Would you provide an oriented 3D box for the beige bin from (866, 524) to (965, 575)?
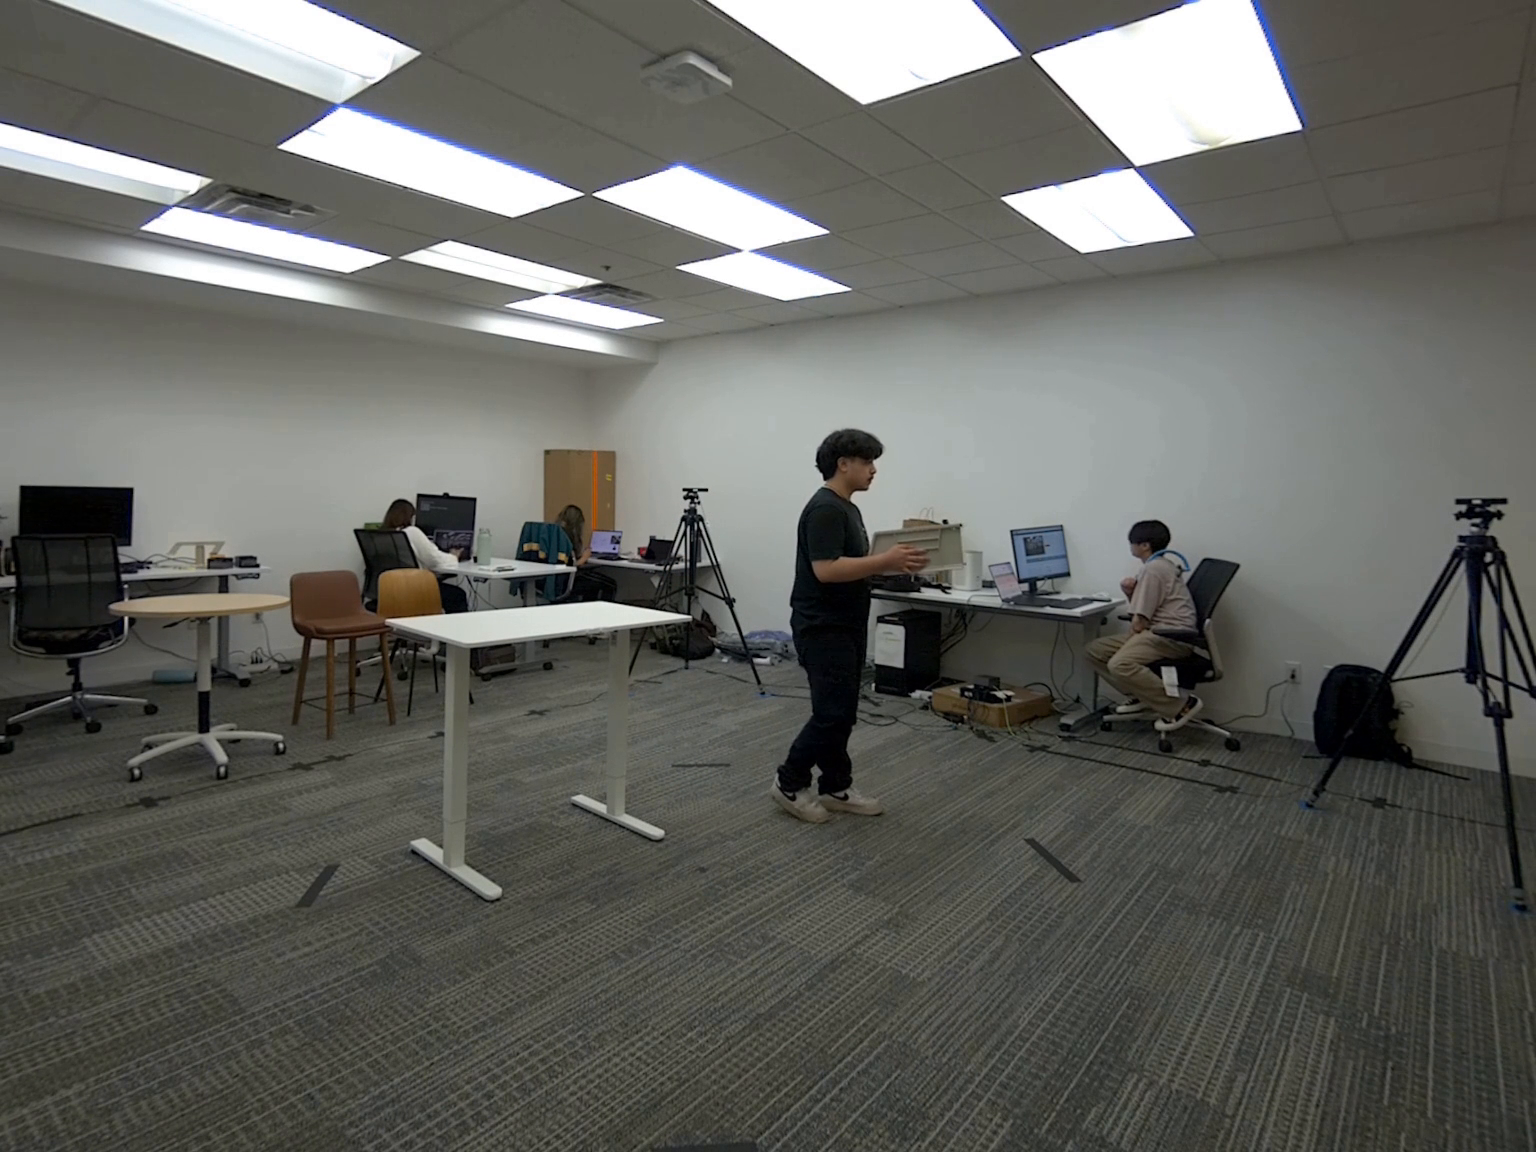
[{"bbox_3d":[0.623,-0.116,3.558,0.383,0.189,0.416,-2,2,14],"label":"beige bin"}]
